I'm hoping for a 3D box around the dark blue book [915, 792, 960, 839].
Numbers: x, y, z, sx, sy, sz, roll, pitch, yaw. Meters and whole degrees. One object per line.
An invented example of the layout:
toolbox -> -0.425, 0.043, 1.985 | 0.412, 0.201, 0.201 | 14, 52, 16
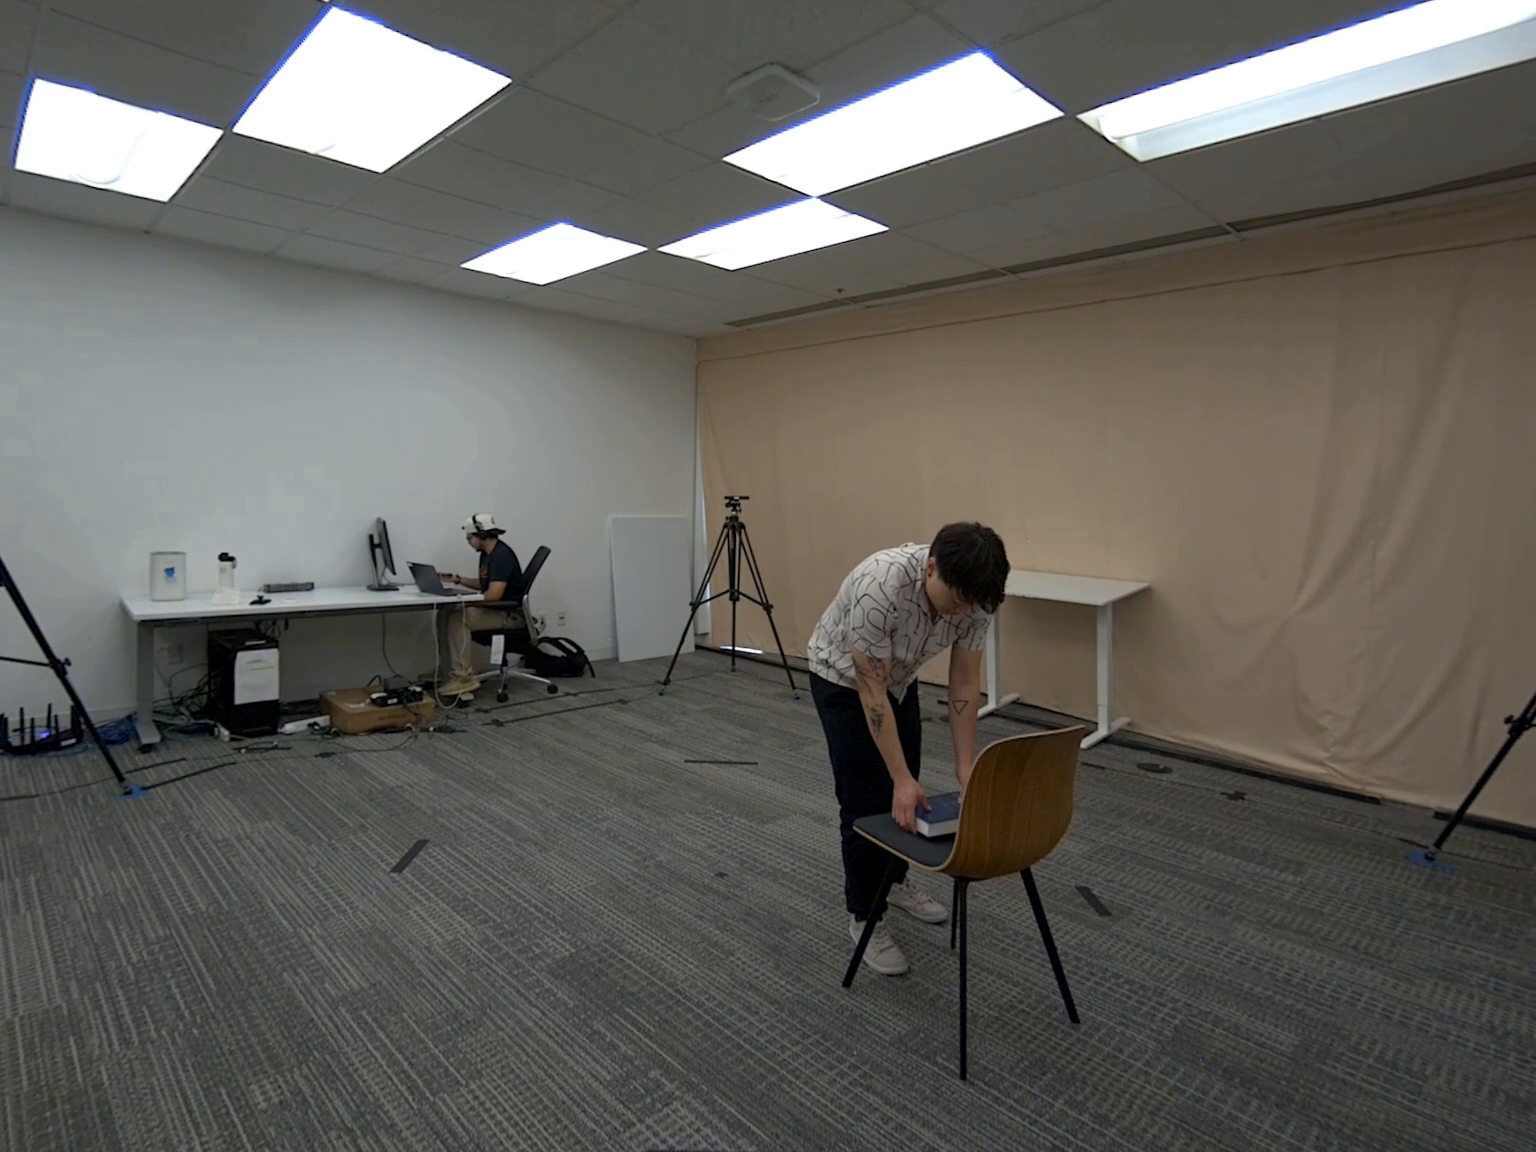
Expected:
dark blue book -> 0.487, 0.666, 2.354 | 0.240, 0.045, 0.167 | -2, 8, -27
